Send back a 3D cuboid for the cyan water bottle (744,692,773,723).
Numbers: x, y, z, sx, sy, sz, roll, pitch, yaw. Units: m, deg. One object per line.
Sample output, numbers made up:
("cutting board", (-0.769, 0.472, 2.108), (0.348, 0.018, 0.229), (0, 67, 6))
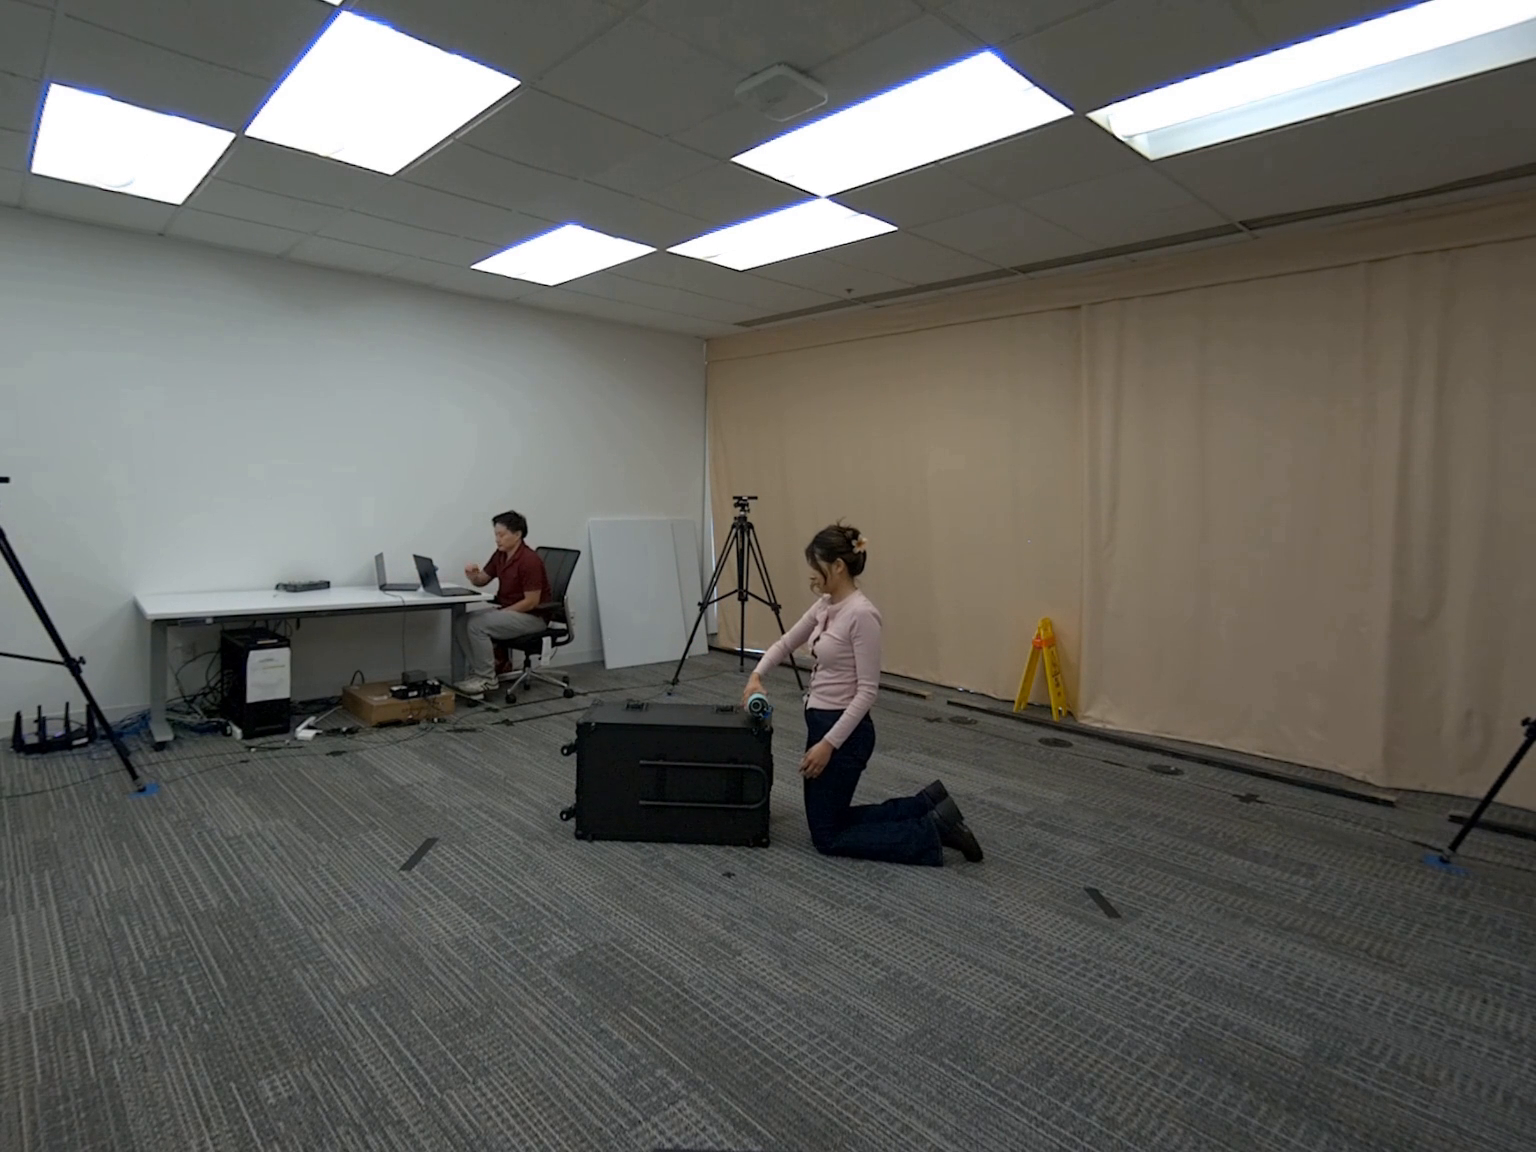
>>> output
("cyan water bottle", (-0.047, 0.524, 3.433), (0.092, 0.092, 0.284), (1, 2, -3))
